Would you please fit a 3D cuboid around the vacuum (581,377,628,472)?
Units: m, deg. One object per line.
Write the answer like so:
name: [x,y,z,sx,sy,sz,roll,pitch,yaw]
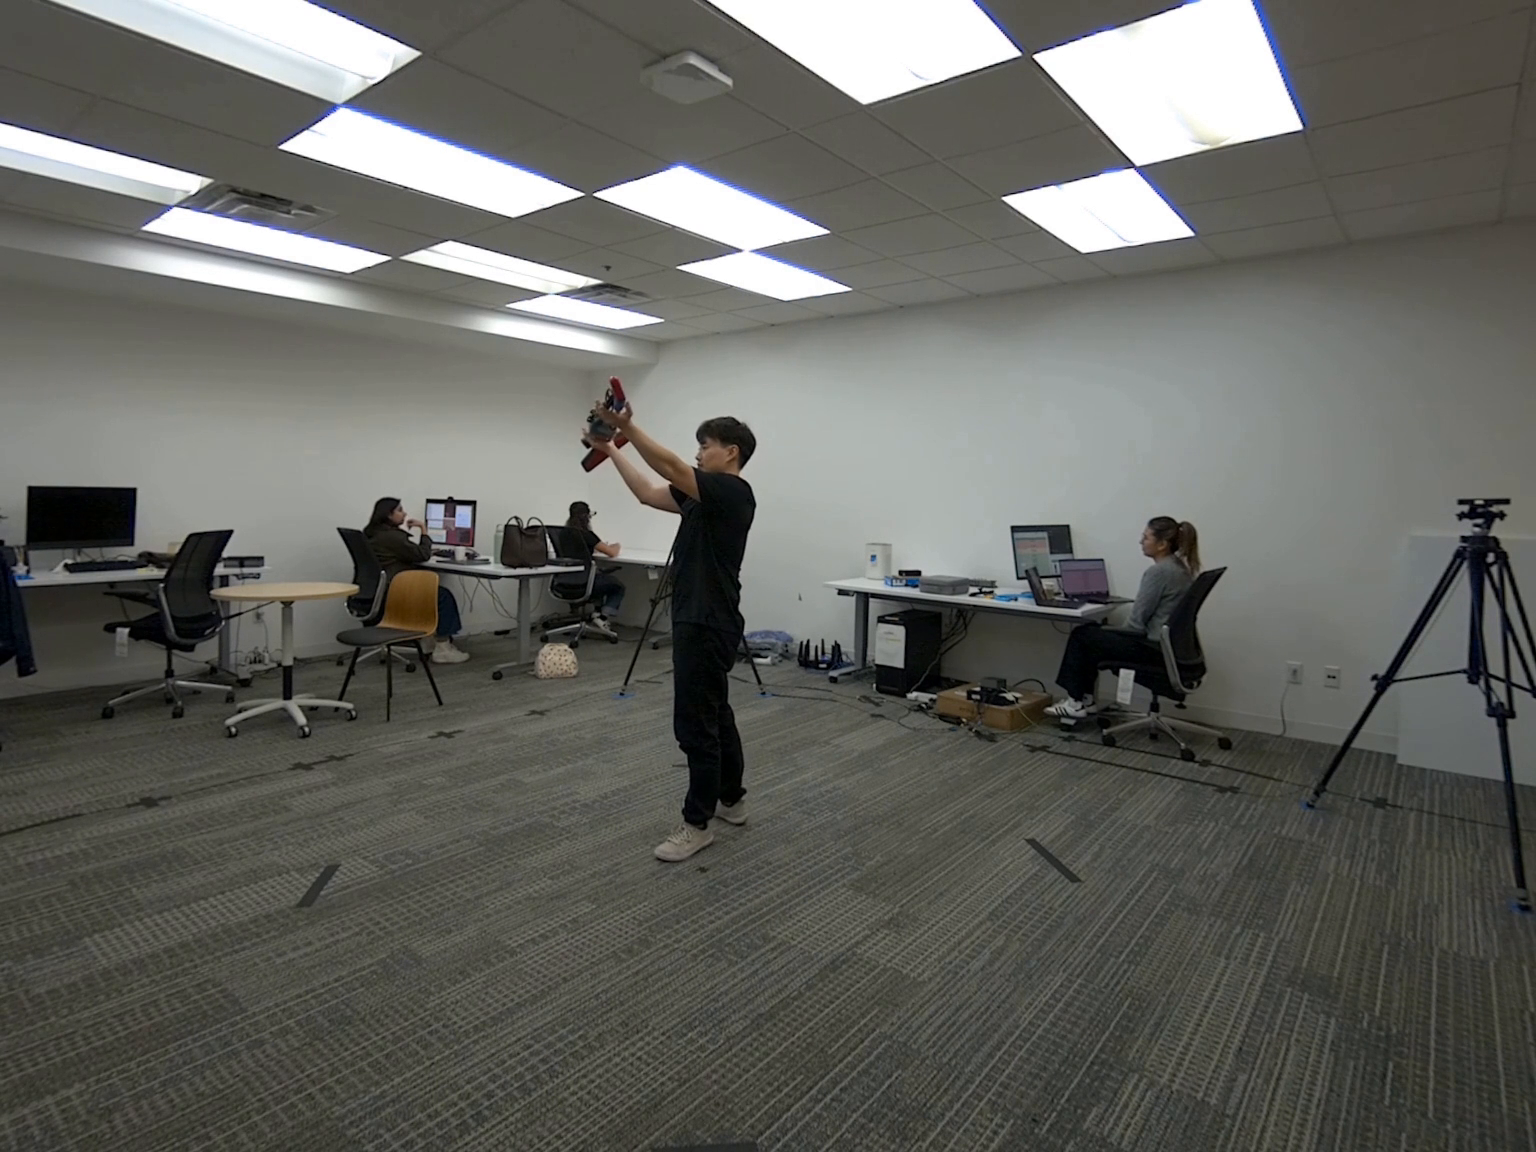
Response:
vacuum: [-0.623,-0.603,3.203,0.252,0.143,1.055,-41,5,-11]
